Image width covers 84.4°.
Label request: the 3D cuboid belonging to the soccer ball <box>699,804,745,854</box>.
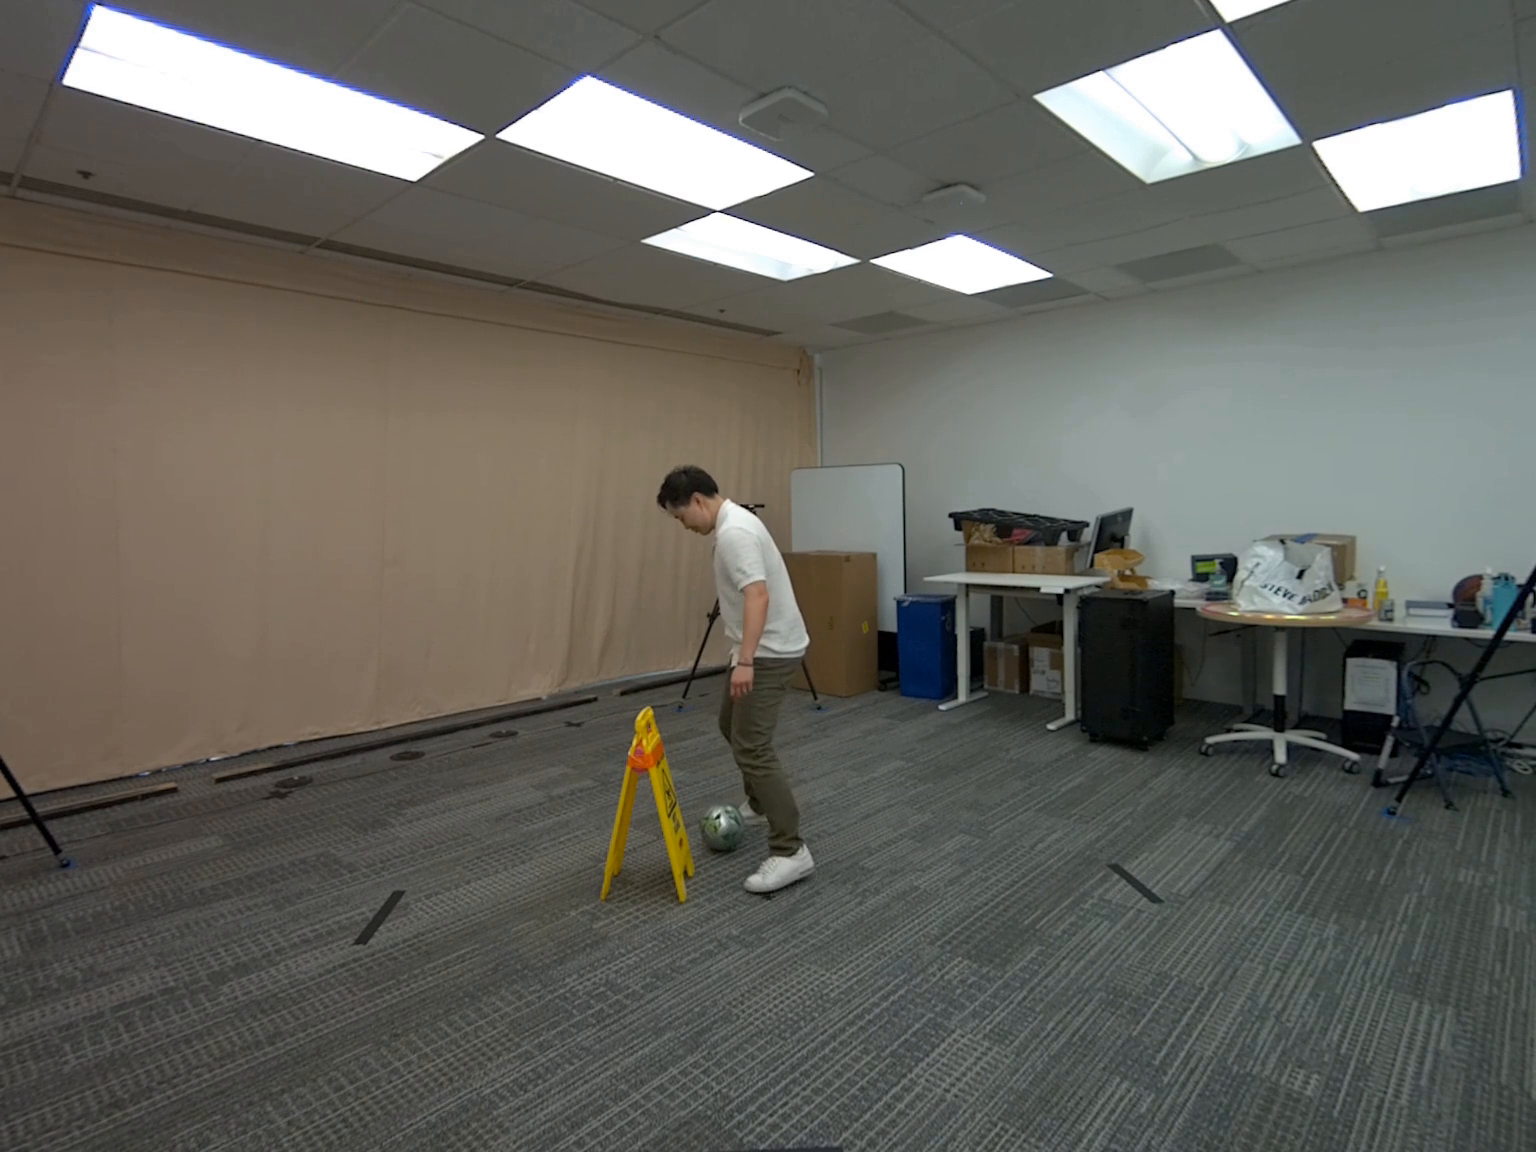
[{"bbox_3d":[-0.188,1.014,3.405,0.187,0.187,0.188,-1,4,-2],"label":"soccer ball"}]
